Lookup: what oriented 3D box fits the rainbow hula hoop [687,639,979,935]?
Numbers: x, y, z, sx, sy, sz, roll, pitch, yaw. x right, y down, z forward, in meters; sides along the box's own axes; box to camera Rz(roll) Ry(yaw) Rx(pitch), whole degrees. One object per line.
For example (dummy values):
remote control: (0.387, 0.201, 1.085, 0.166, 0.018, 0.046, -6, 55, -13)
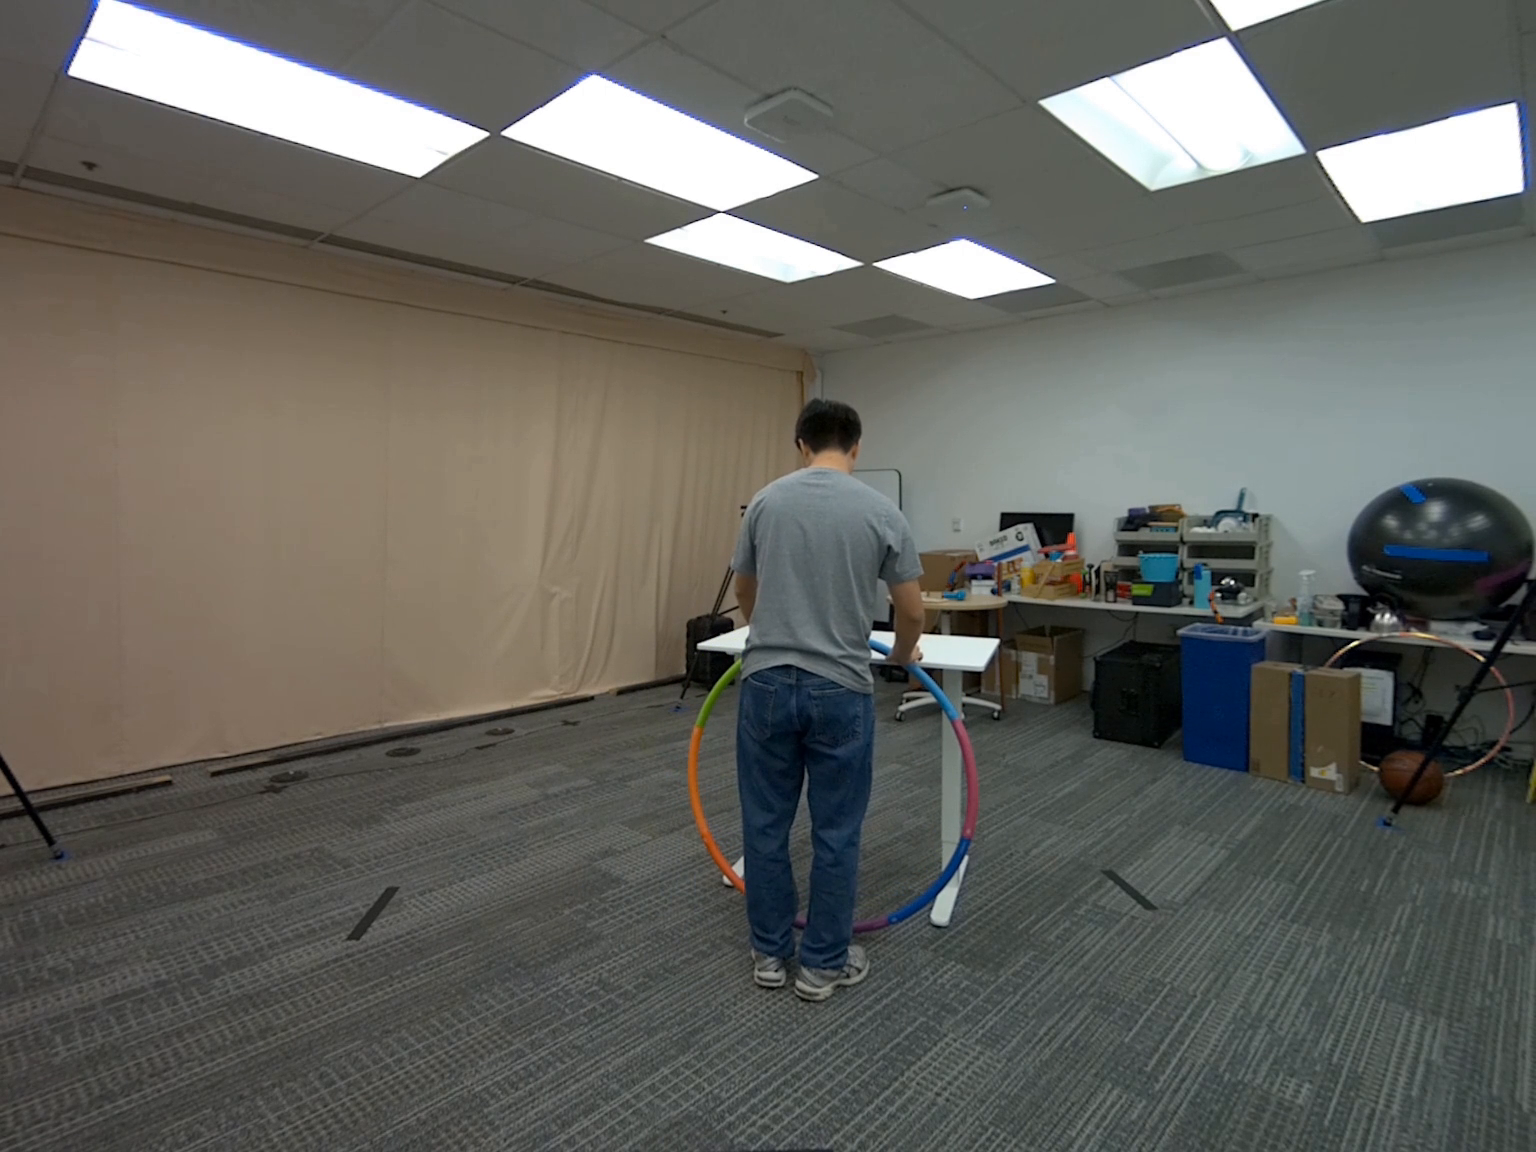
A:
rainbow hula hoop: (0.186, 0.675, 2.811, 1.001, 0.982, 0.034, 1, -6, 22)
